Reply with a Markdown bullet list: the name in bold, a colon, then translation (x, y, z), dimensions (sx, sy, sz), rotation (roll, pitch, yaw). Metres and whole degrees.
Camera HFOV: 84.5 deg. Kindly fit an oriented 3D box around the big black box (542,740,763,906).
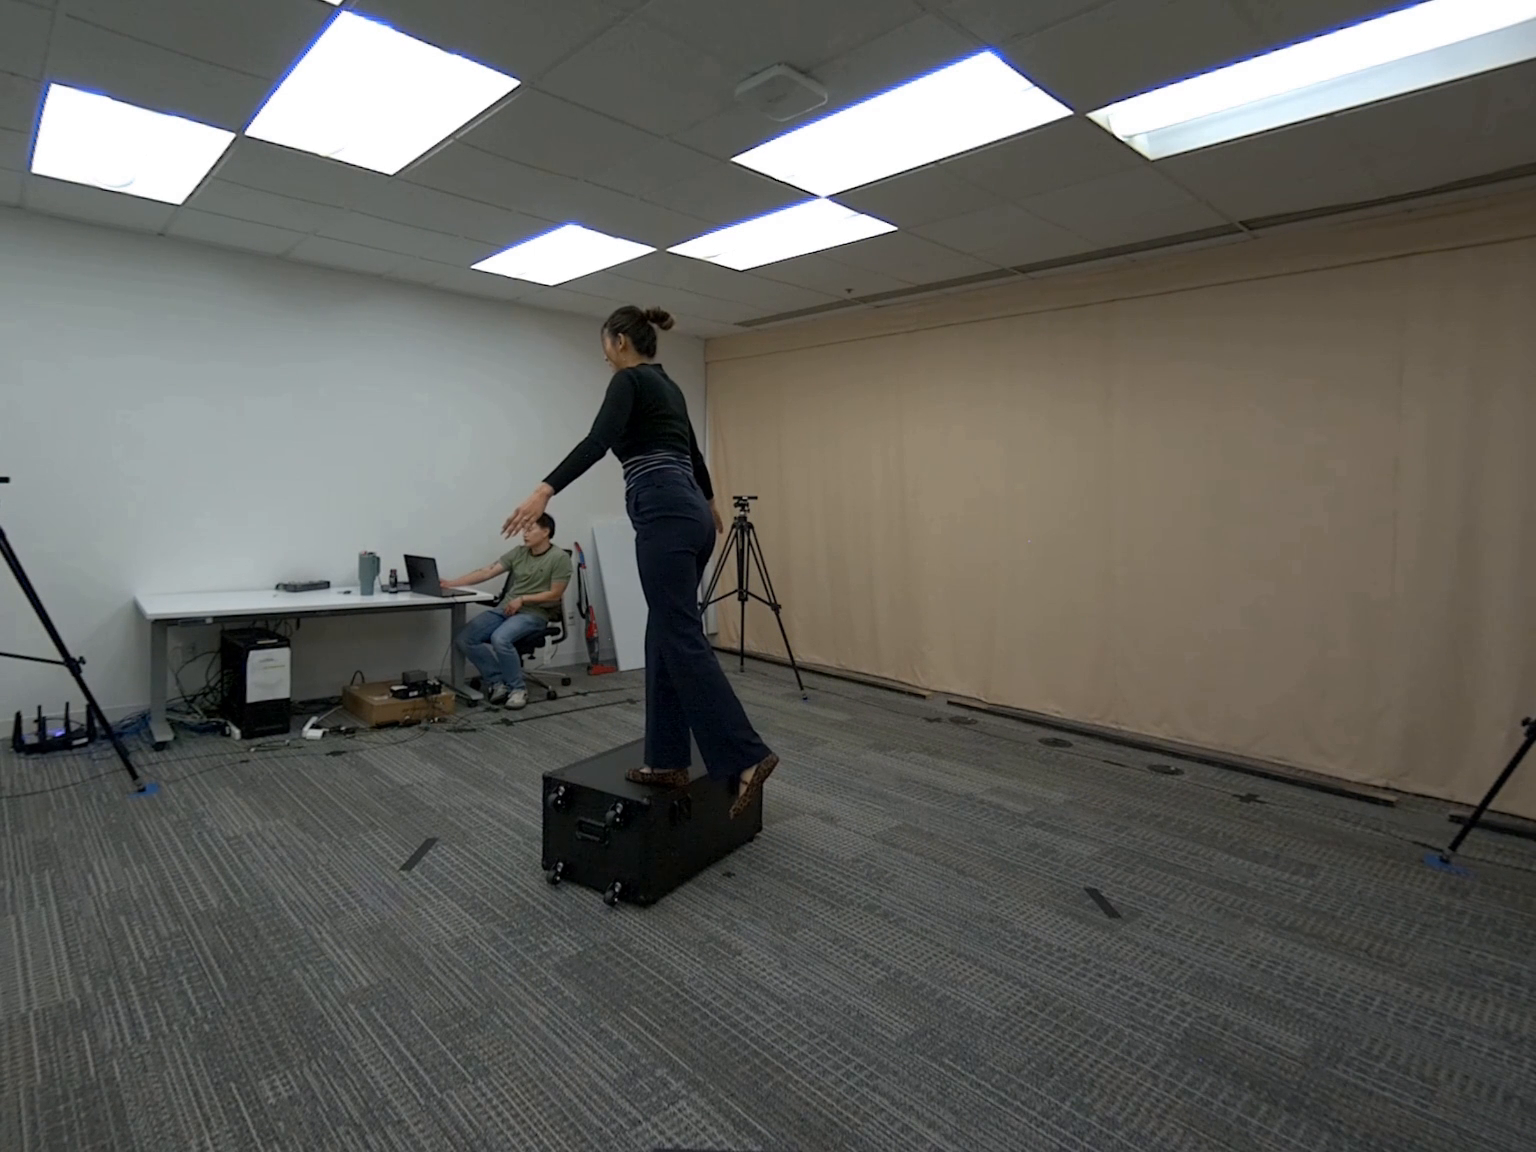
- **big black box**: translation (-0.445, 0.897, 3.230), dimensions (0.533, 0.395, 0.845), rotation (5, 6, 30)
